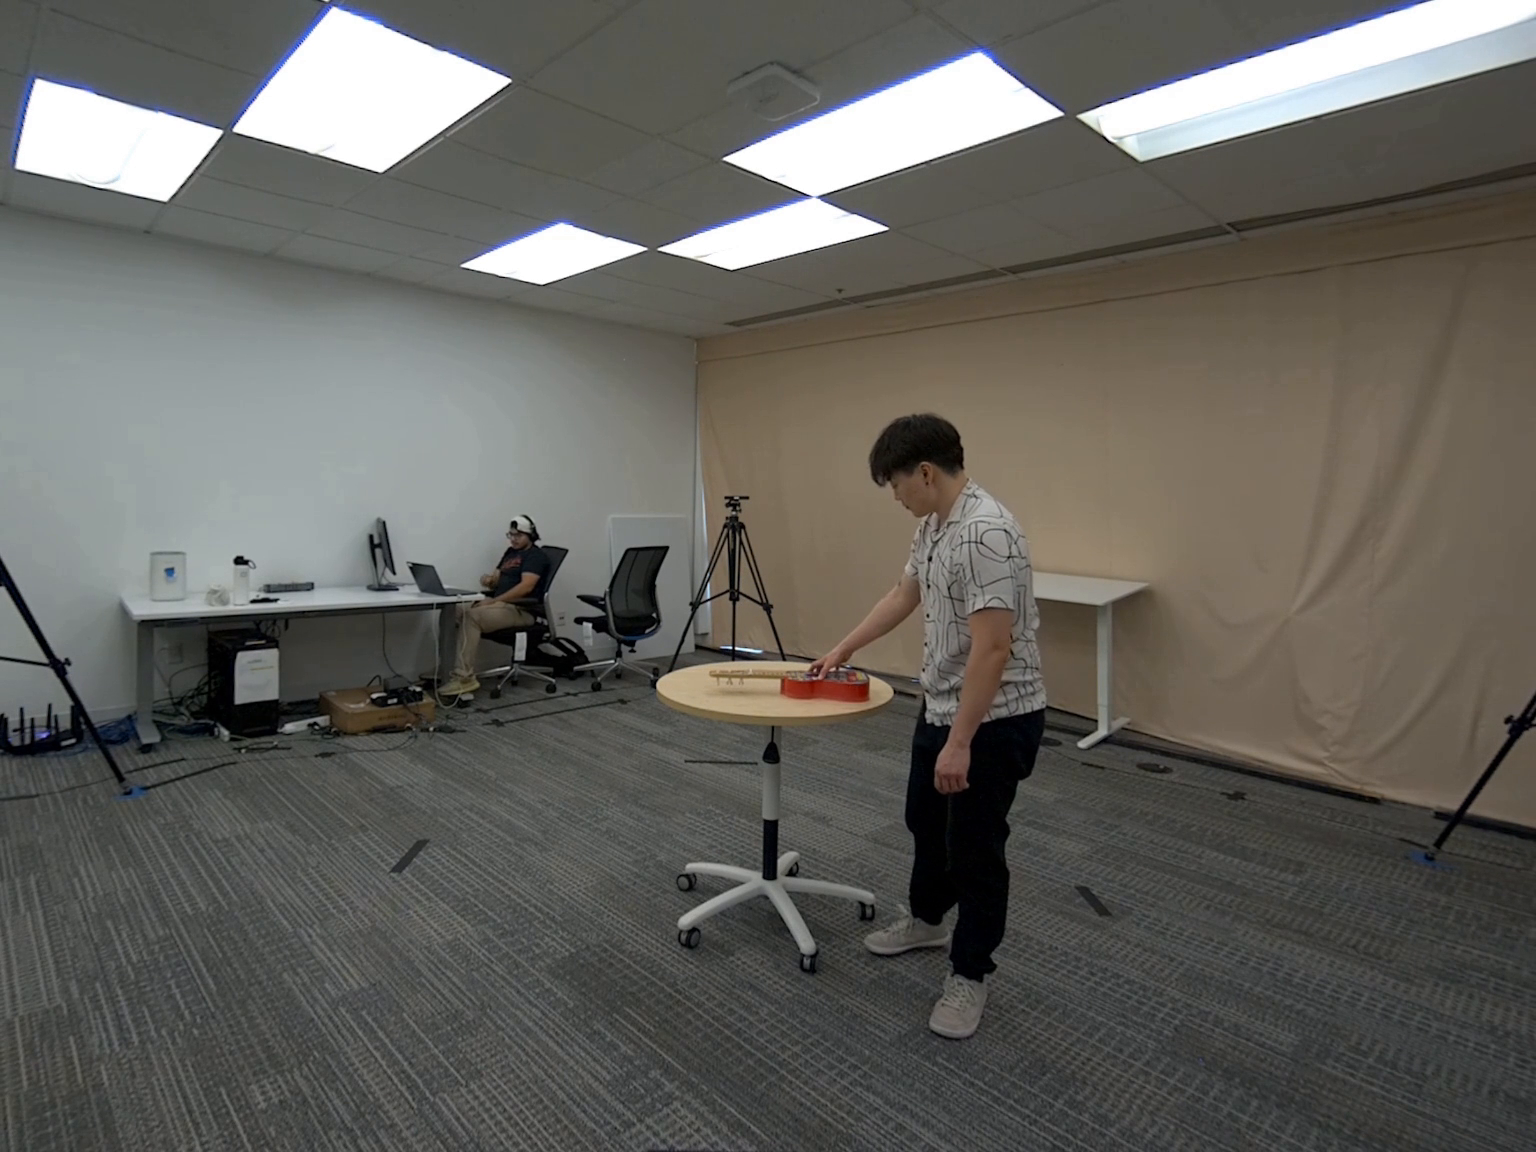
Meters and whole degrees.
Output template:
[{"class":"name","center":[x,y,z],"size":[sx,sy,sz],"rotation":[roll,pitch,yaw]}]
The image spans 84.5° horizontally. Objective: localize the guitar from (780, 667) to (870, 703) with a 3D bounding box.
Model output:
[{"class":"guitar","center":[0.068,0.331,2.652],"size":[0.501,0.070,0.192],"rotation":[3,6,8]}]
